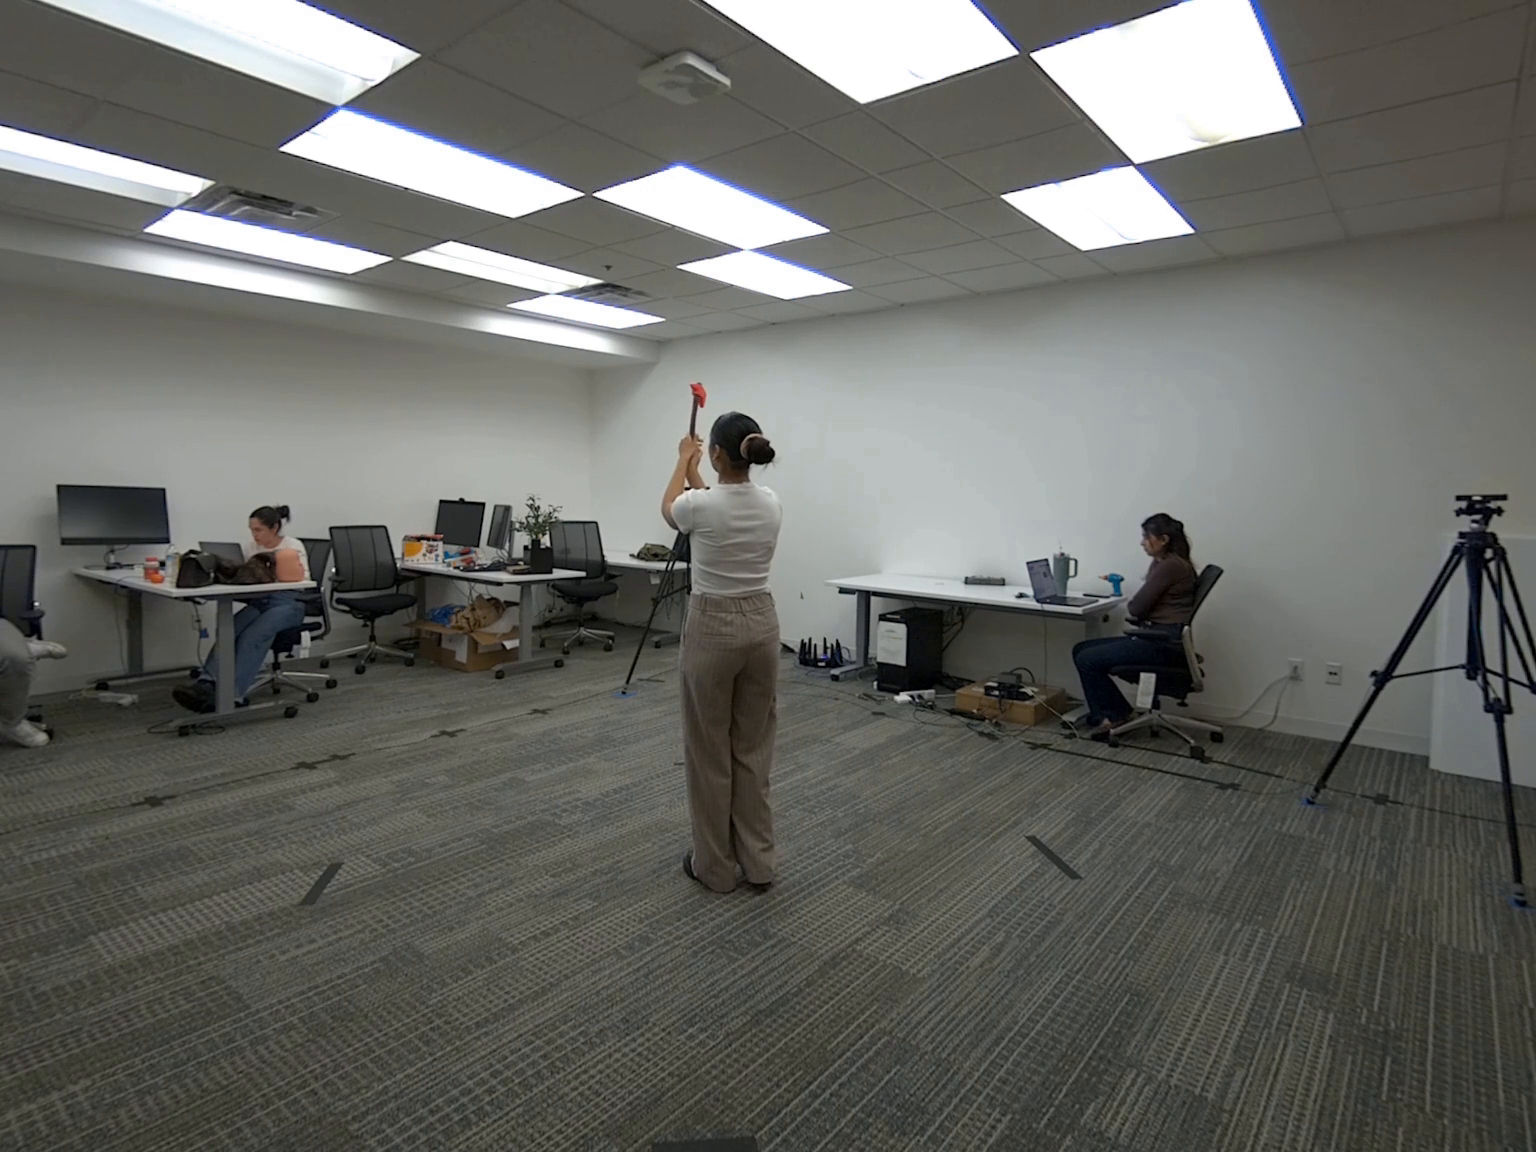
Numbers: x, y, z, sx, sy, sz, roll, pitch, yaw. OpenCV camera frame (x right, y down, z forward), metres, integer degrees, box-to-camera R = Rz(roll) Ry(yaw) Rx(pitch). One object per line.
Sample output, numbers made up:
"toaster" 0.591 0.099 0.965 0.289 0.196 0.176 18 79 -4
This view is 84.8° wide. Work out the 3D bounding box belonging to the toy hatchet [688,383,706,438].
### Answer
"toy hatchet" -0.284 -0.618 3.289 0.030 0.268 0.129 5 9 17
